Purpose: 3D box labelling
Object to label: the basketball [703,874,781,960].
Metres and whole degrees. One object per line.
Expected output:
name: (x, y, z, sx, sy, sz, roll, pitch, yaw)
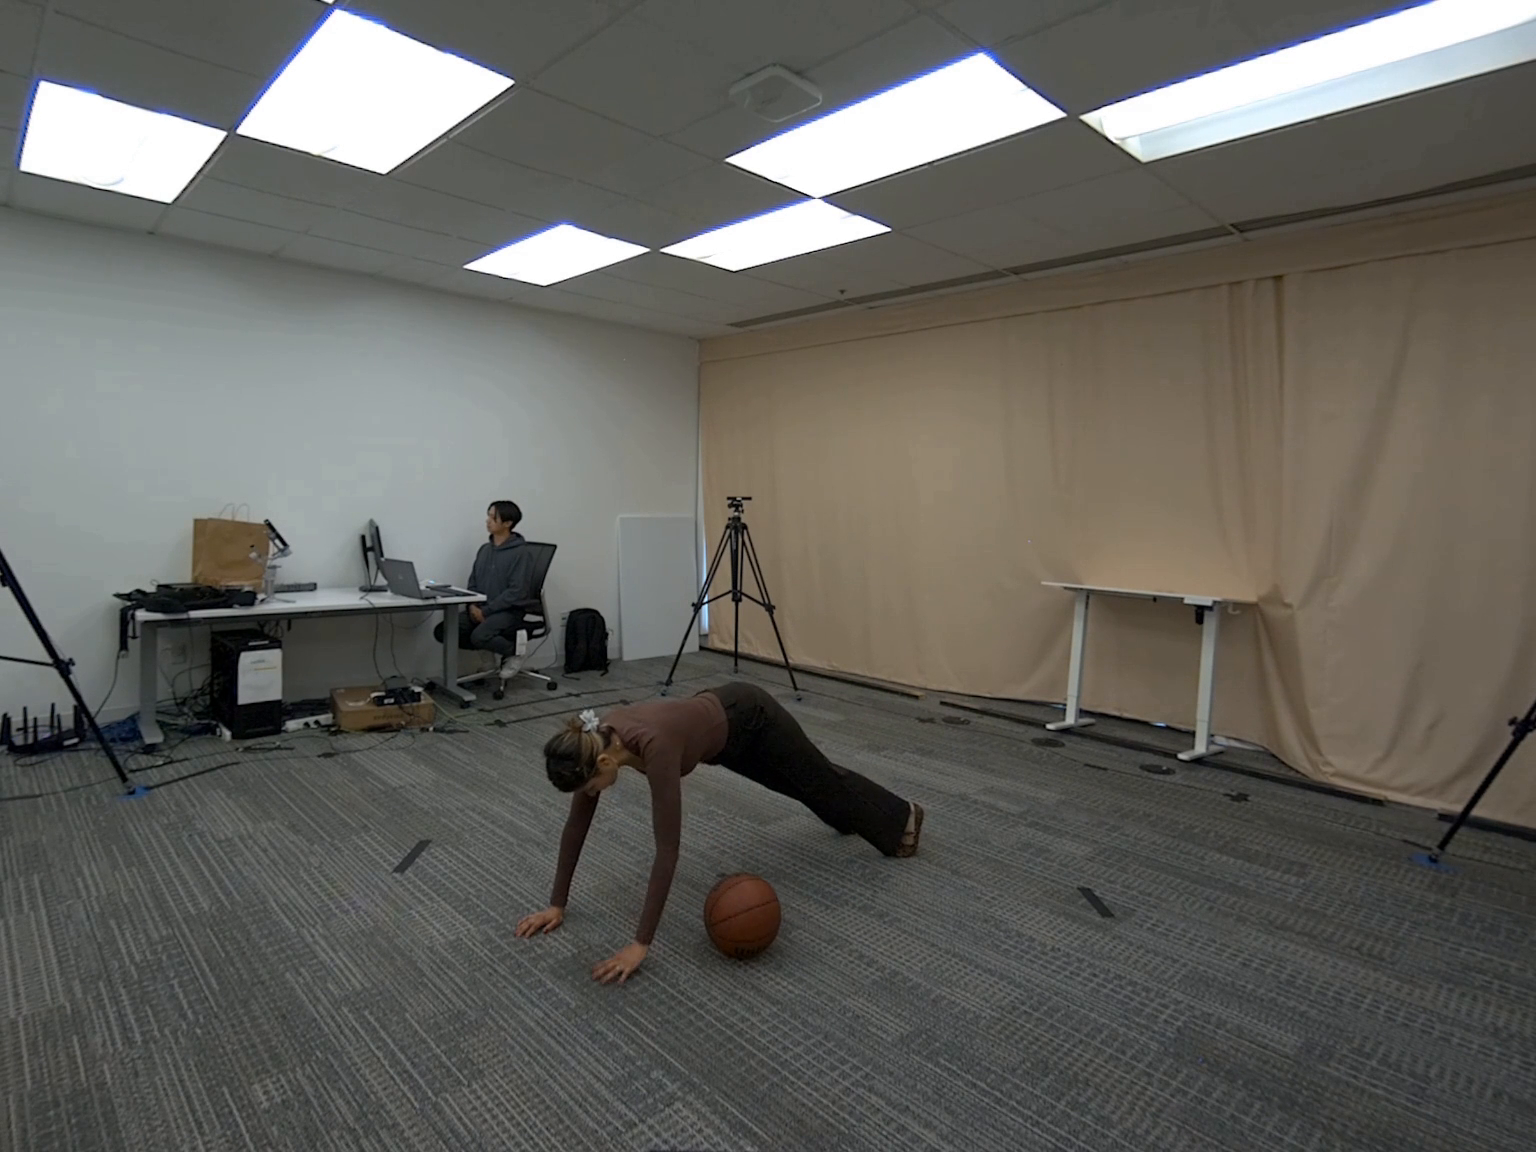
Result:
basketball: (-0.083, 1.037, 2.564, 0.236, 0.235, 0.237, 1, 4, -1)
